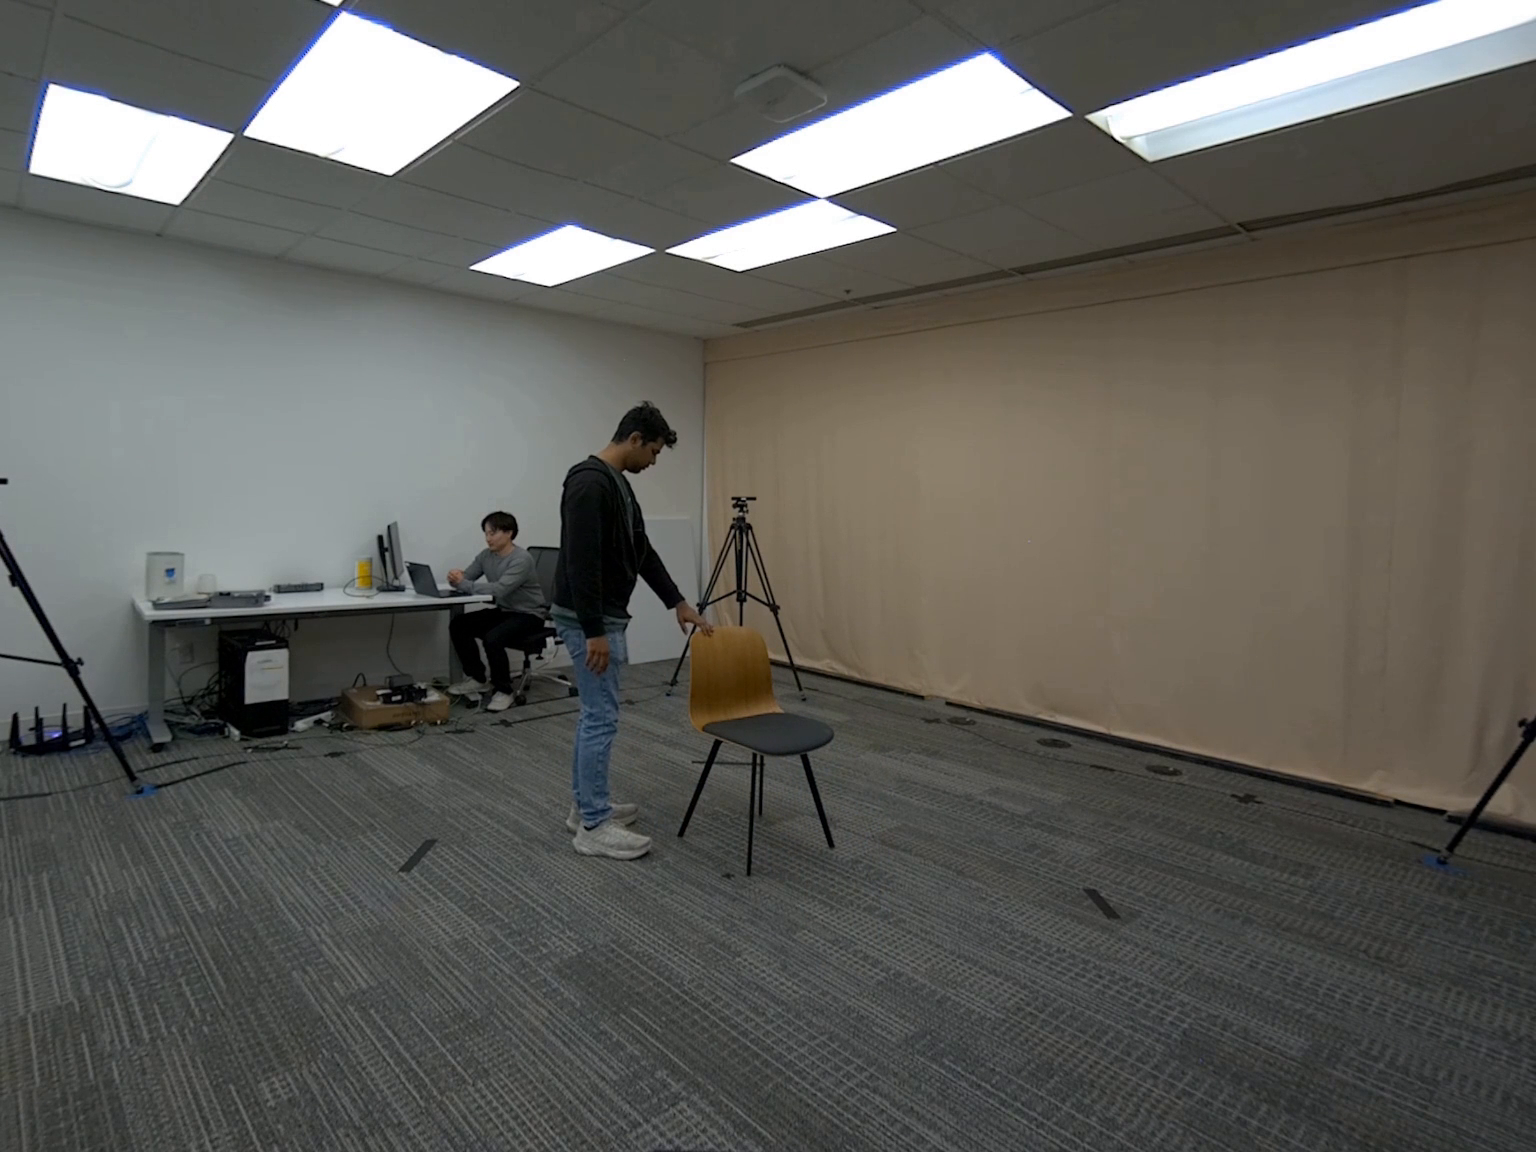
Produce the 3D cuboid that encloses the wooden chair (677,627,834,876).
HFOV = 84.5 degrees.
[{"bbox_3d":[-0.045,0.658,3.383,0.467,0.878,0.535,-1,-1,-40],"label":"wooden chair"}]
